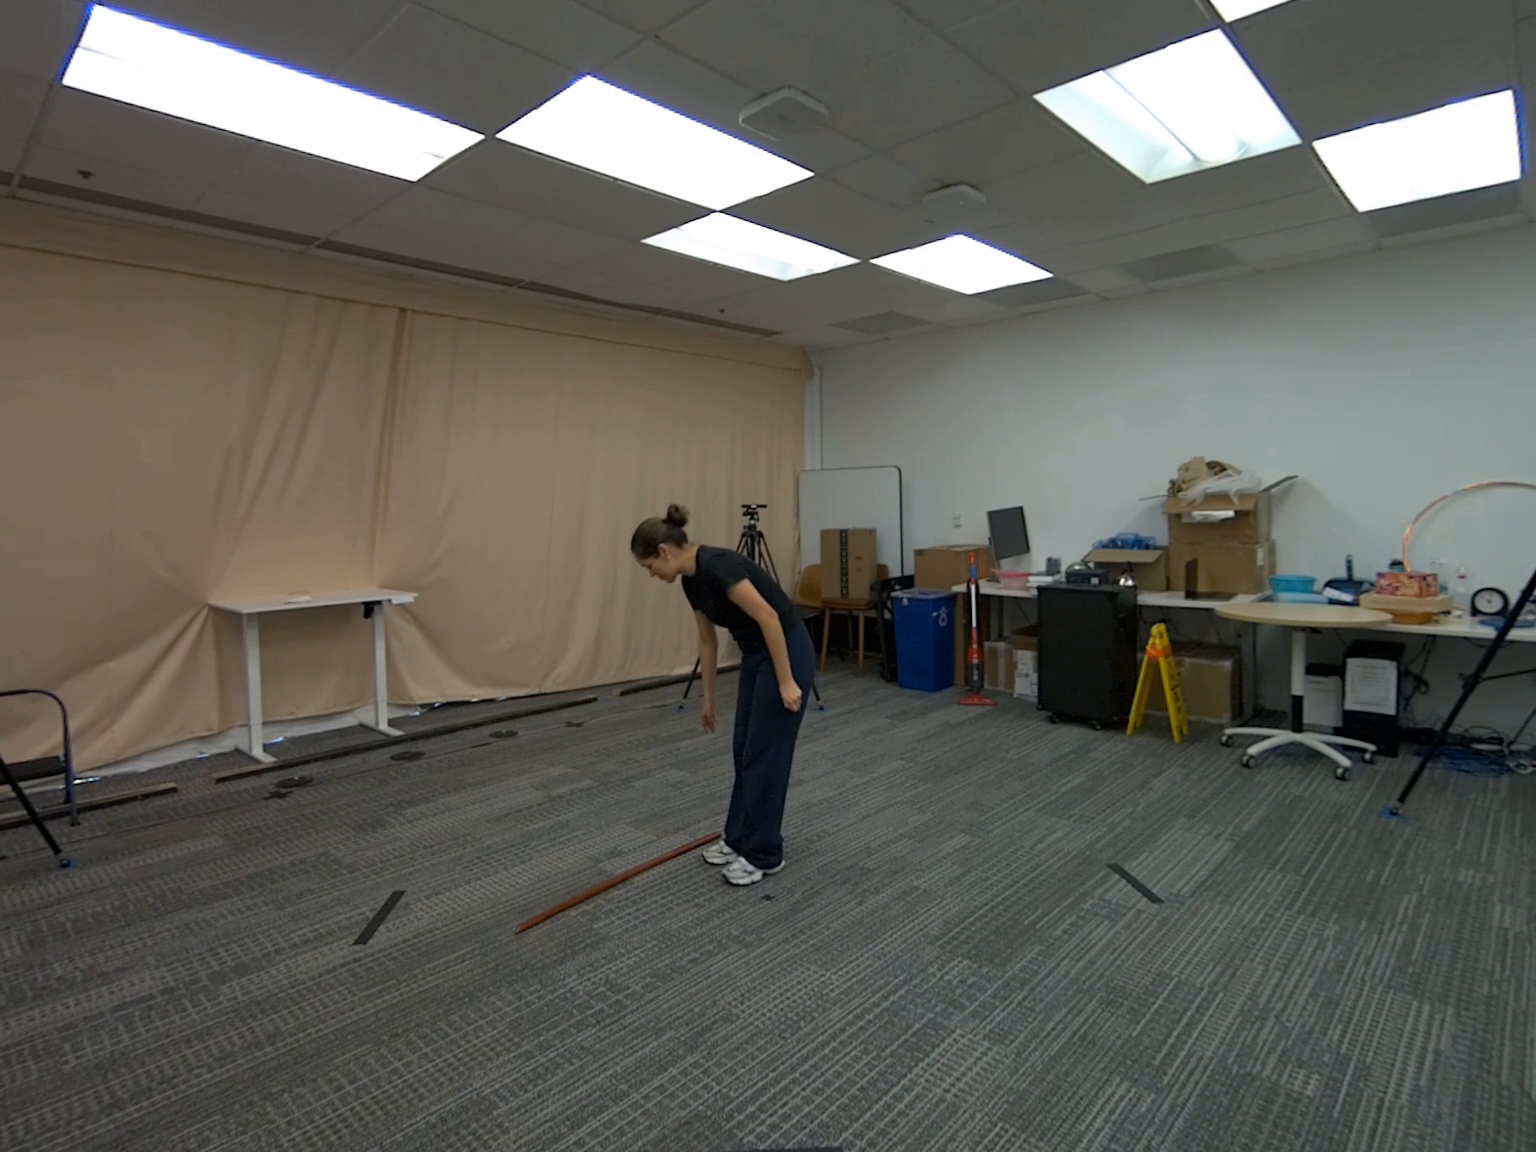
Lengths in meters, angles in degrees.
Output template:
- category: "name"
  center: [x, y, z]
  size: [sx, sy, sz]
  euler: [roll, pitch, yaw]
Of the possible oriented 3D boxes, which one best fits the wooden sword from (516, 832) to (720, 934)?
- category: "wooden sword"
  center: [-0.499, 1.115, 3.158]
  size: [0.053, 0.024, 0.995]
  euler: [4, 8, 38]
